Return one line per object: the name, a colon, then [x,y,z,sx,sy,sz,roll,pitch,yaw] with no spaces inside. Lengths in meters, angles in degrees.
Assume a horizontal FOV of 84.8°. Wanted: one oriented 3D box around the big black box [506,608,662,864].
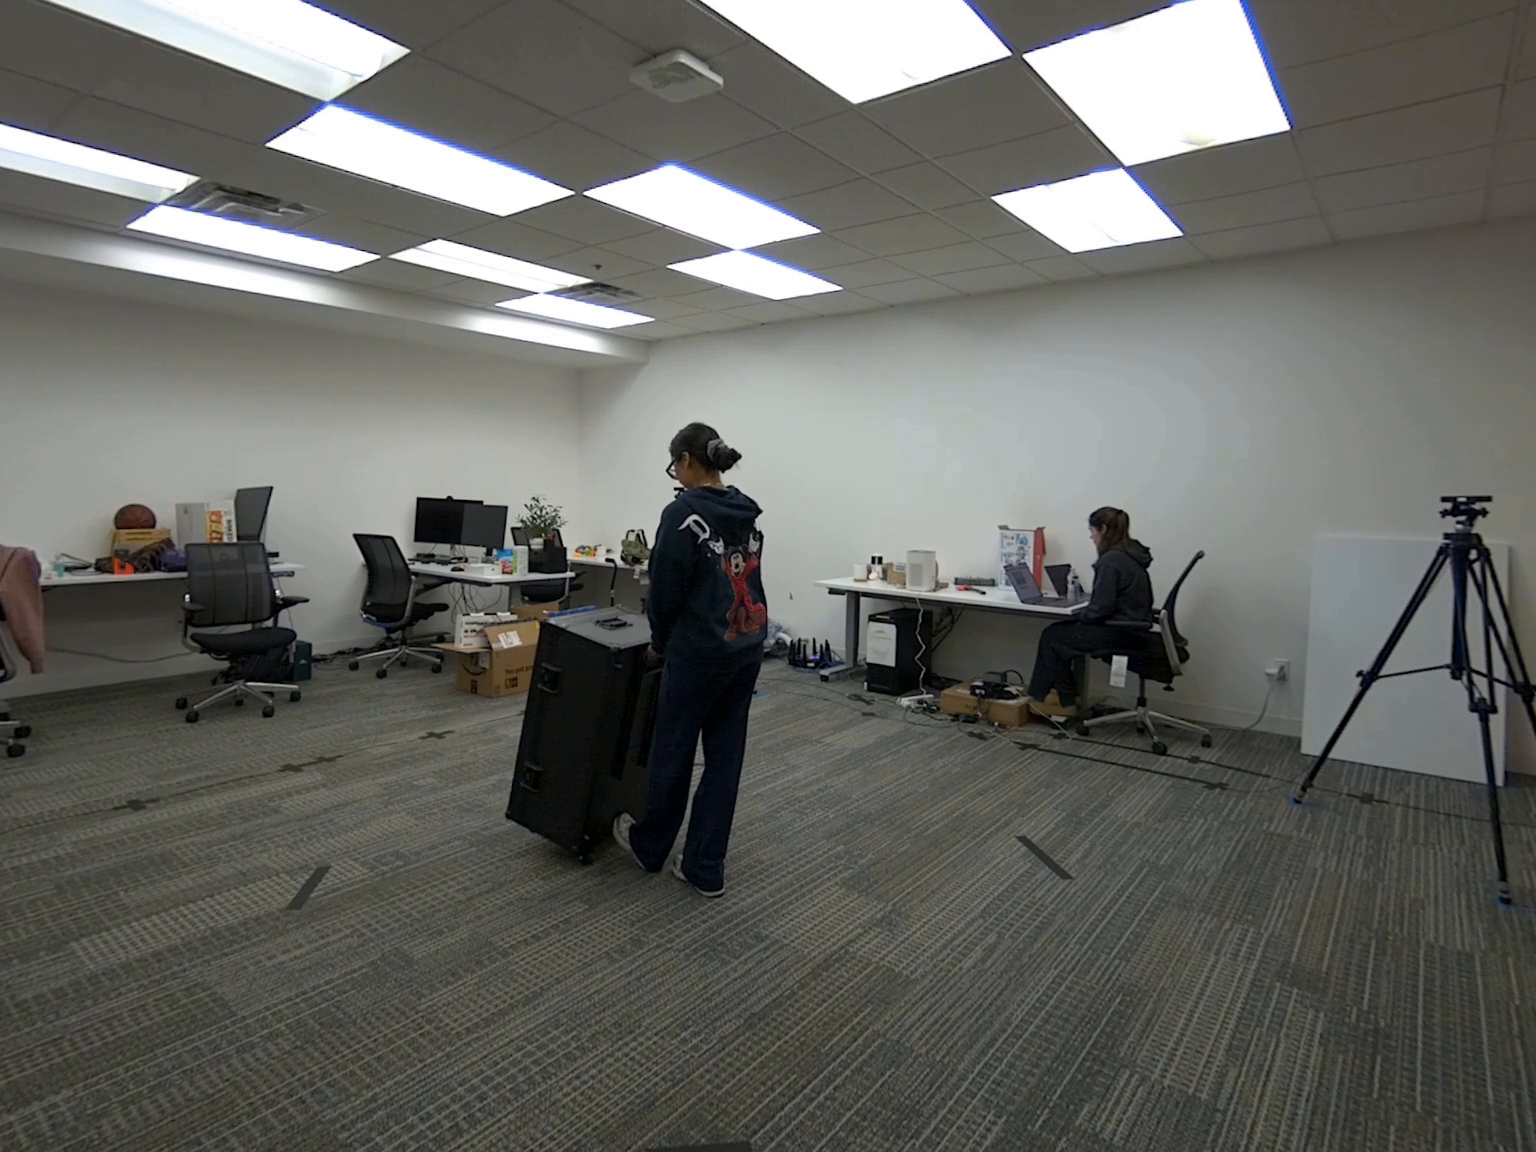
big black box: [-0.668,0.601,3.279,0.537,0.857,0.386,15,8,26]
